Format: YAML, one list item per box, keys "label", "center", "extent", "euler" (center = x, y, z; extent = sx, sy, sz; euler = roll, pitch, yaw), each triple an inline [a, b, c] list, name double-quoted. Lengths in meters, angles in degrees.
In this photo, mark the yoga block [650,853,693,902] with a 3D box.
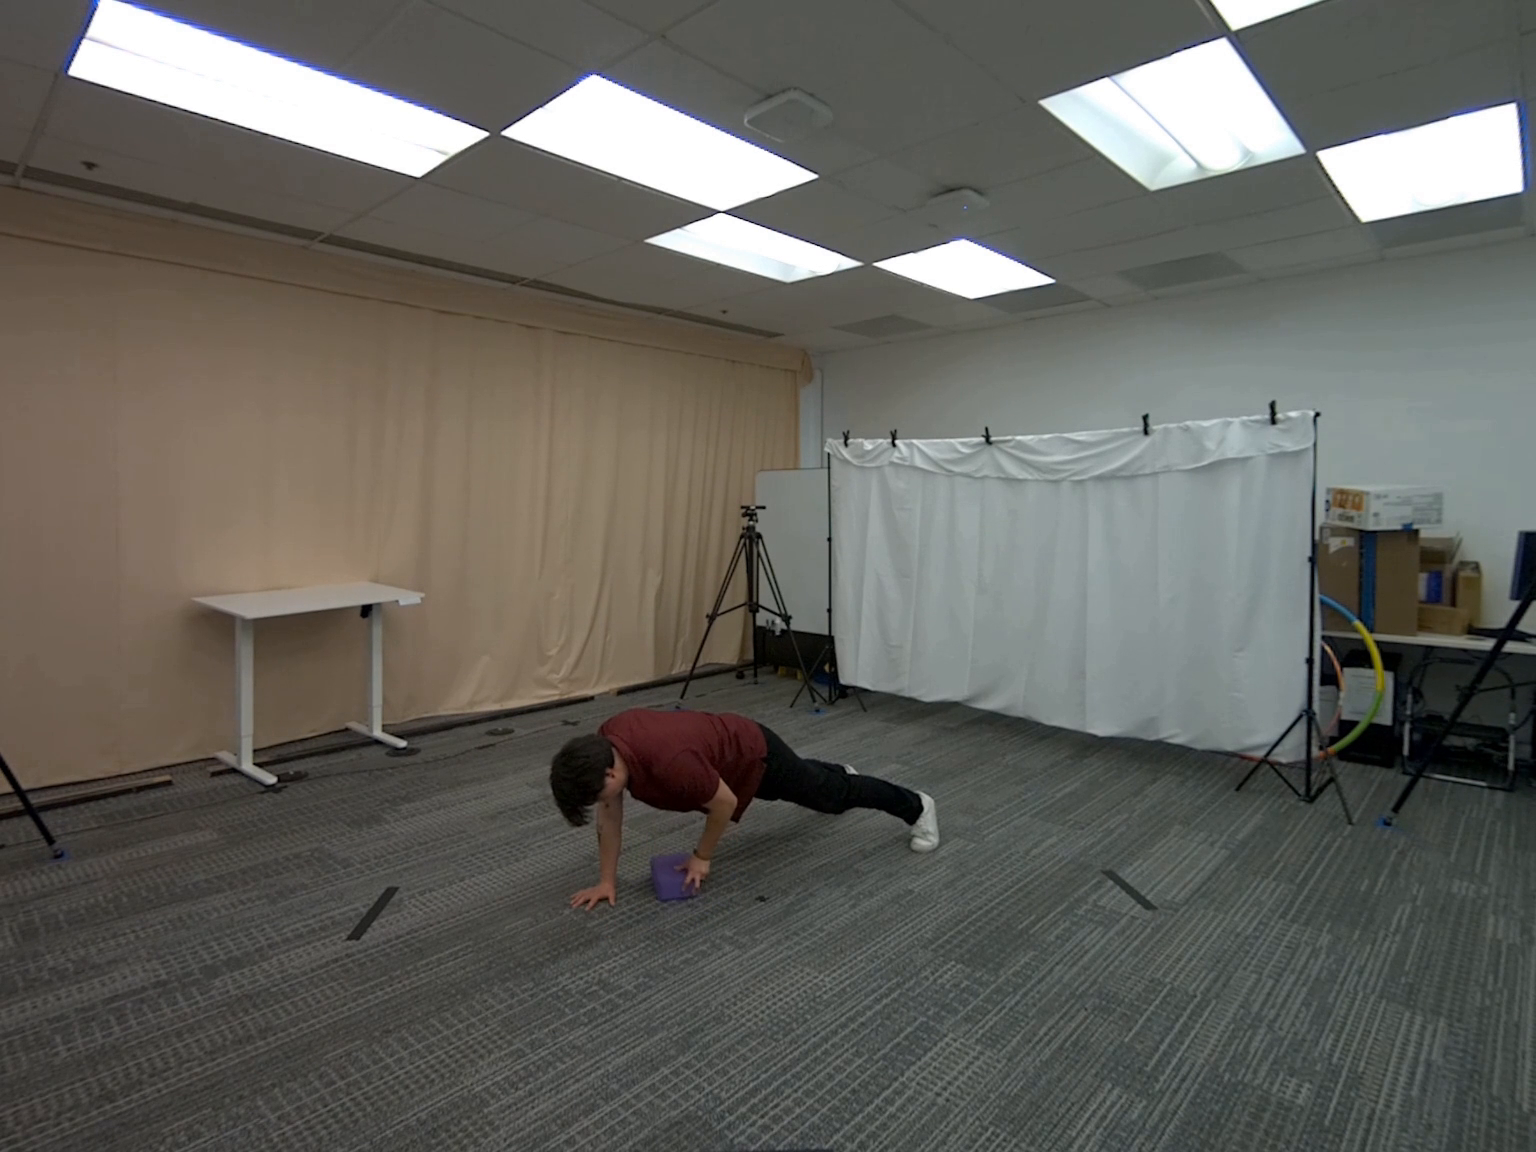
- label: "yoga block"
  center: [-0.339, 1.096, 3.089]
  extent: [0.147, 0.076, 0.233]
  euler: [-2, 6, -12]
